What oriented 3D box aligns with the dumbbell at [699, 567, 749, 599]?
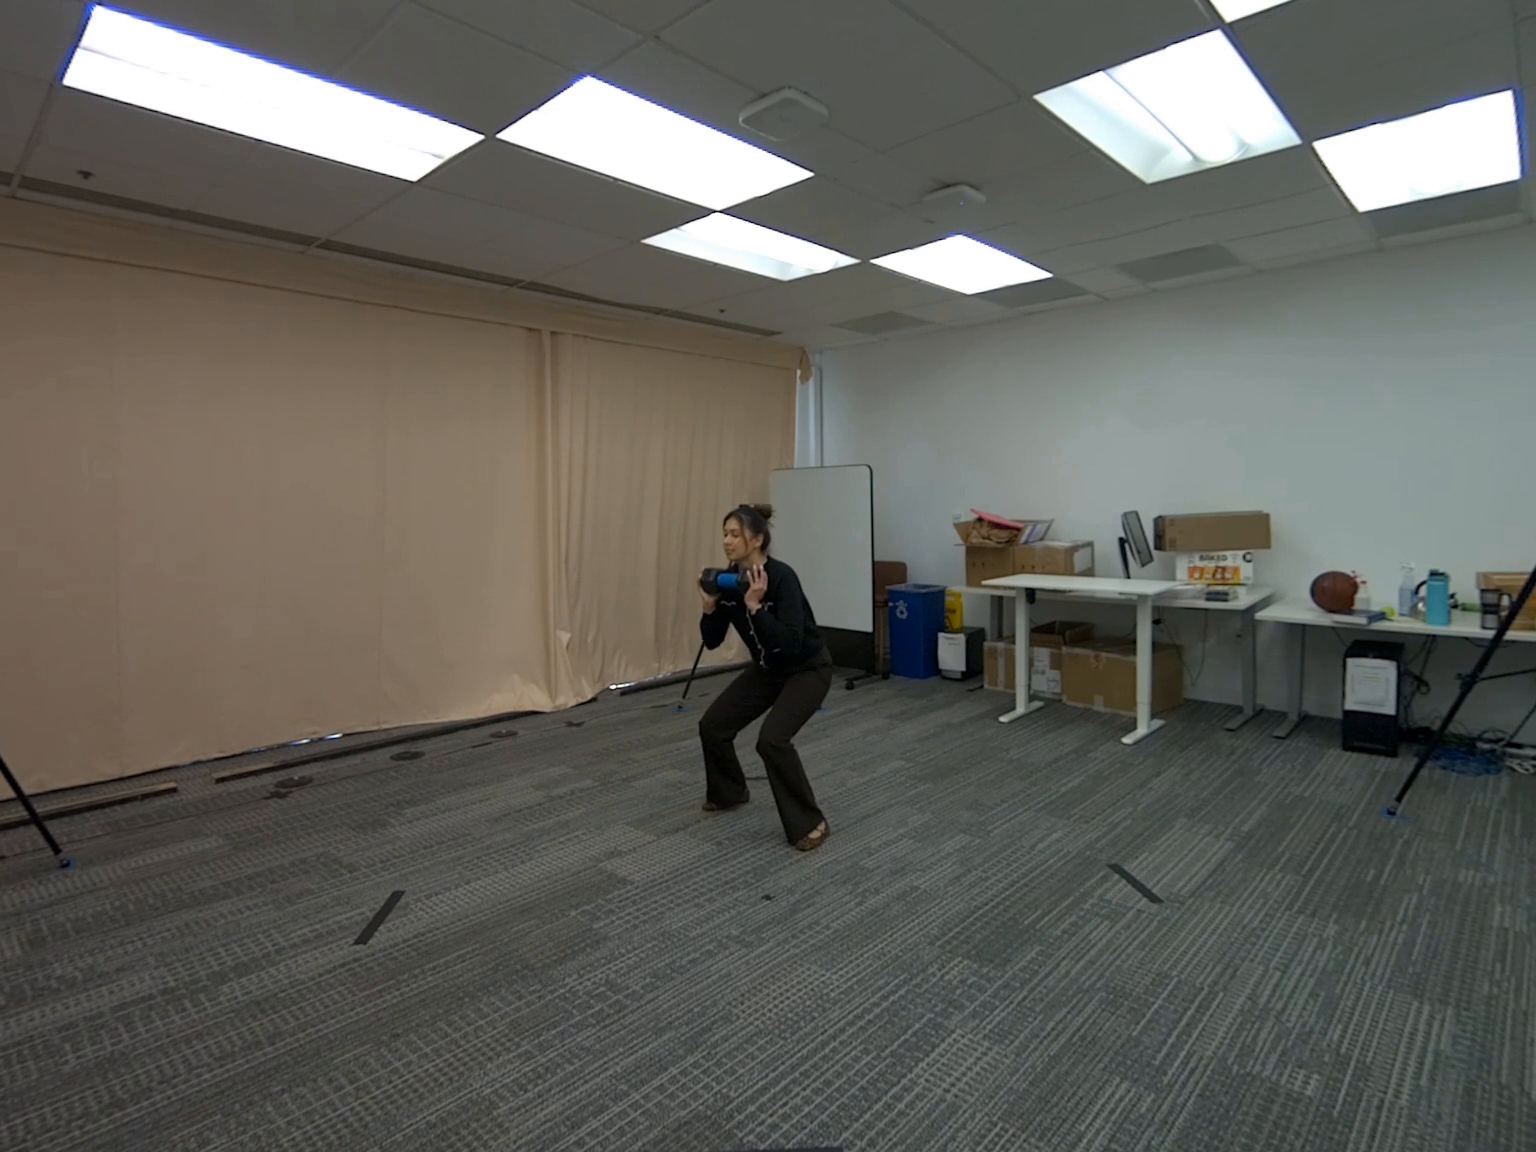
[{"bbox_3d":[-0.148,0.020,3.558,0.303,0.123,0.105,1,-32,44],"label":"dumbbell"}]
